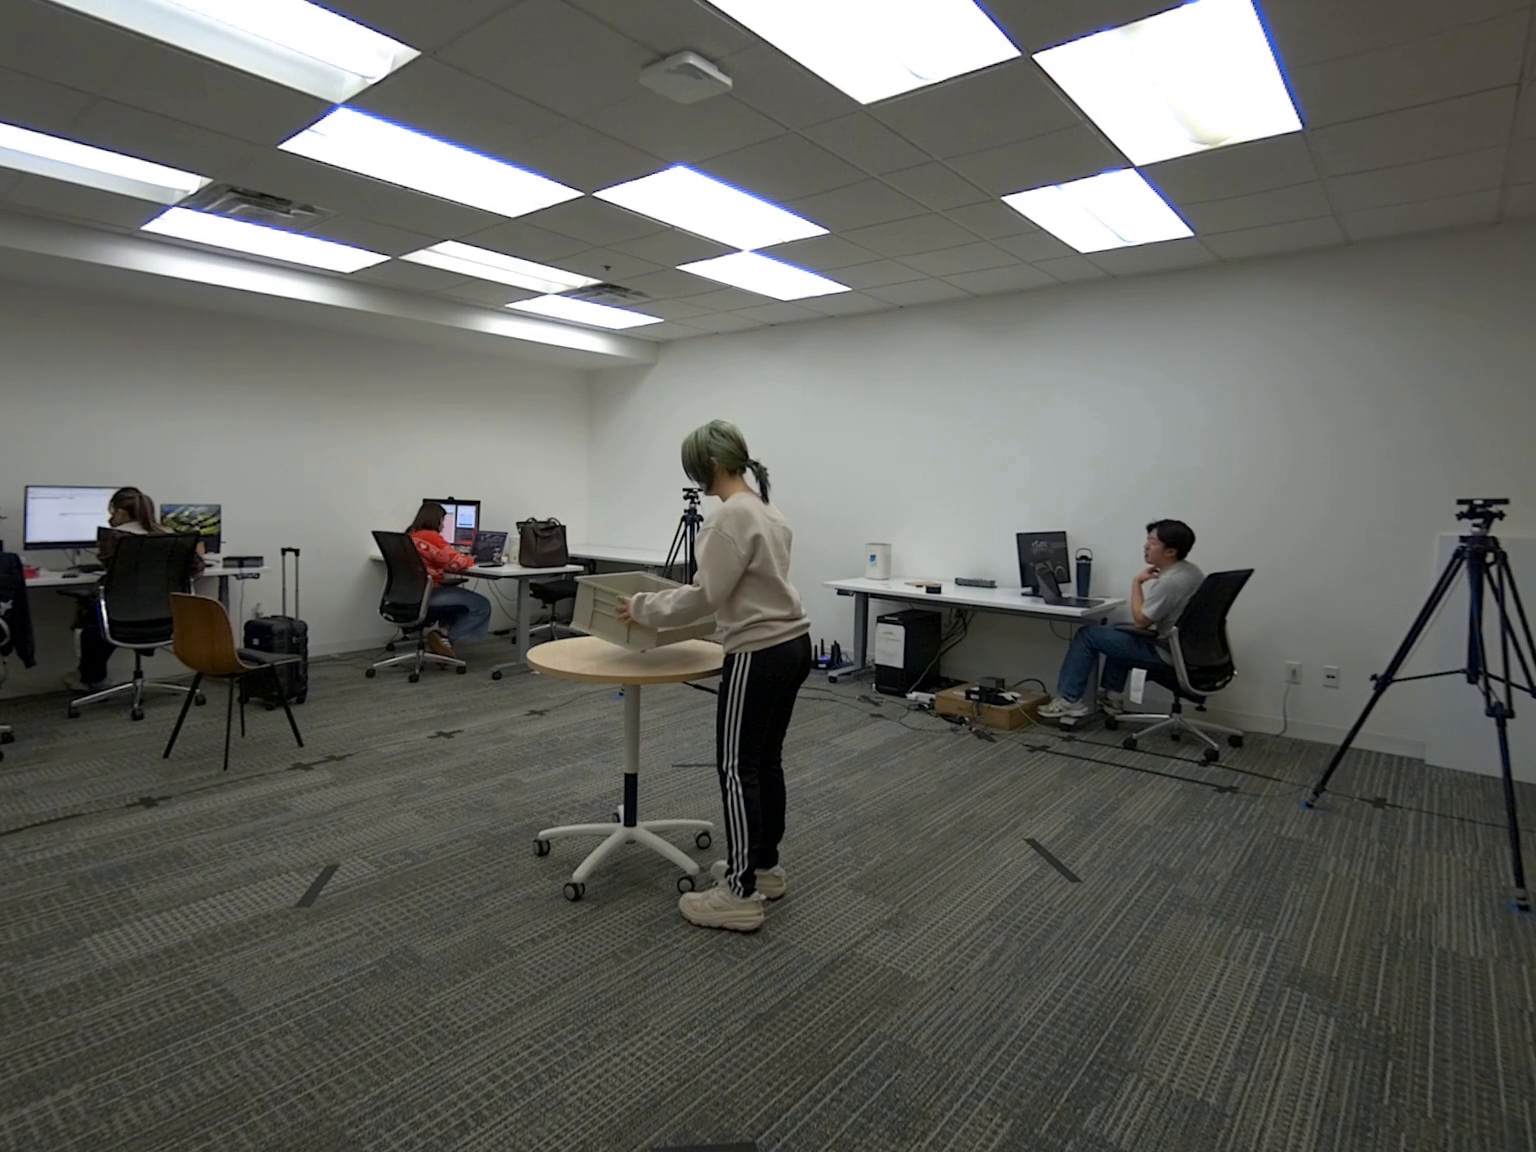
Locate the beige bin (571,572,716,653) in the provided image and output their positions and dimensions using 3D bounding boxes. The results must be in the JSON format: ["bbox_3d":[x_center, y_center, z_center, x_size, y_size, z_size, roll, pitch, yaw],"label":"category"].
[{"bbox_3d":[-0.452,0.127,3.085,0.389,0.188,0.411,15,10,27],"label":"beige bin"}]
